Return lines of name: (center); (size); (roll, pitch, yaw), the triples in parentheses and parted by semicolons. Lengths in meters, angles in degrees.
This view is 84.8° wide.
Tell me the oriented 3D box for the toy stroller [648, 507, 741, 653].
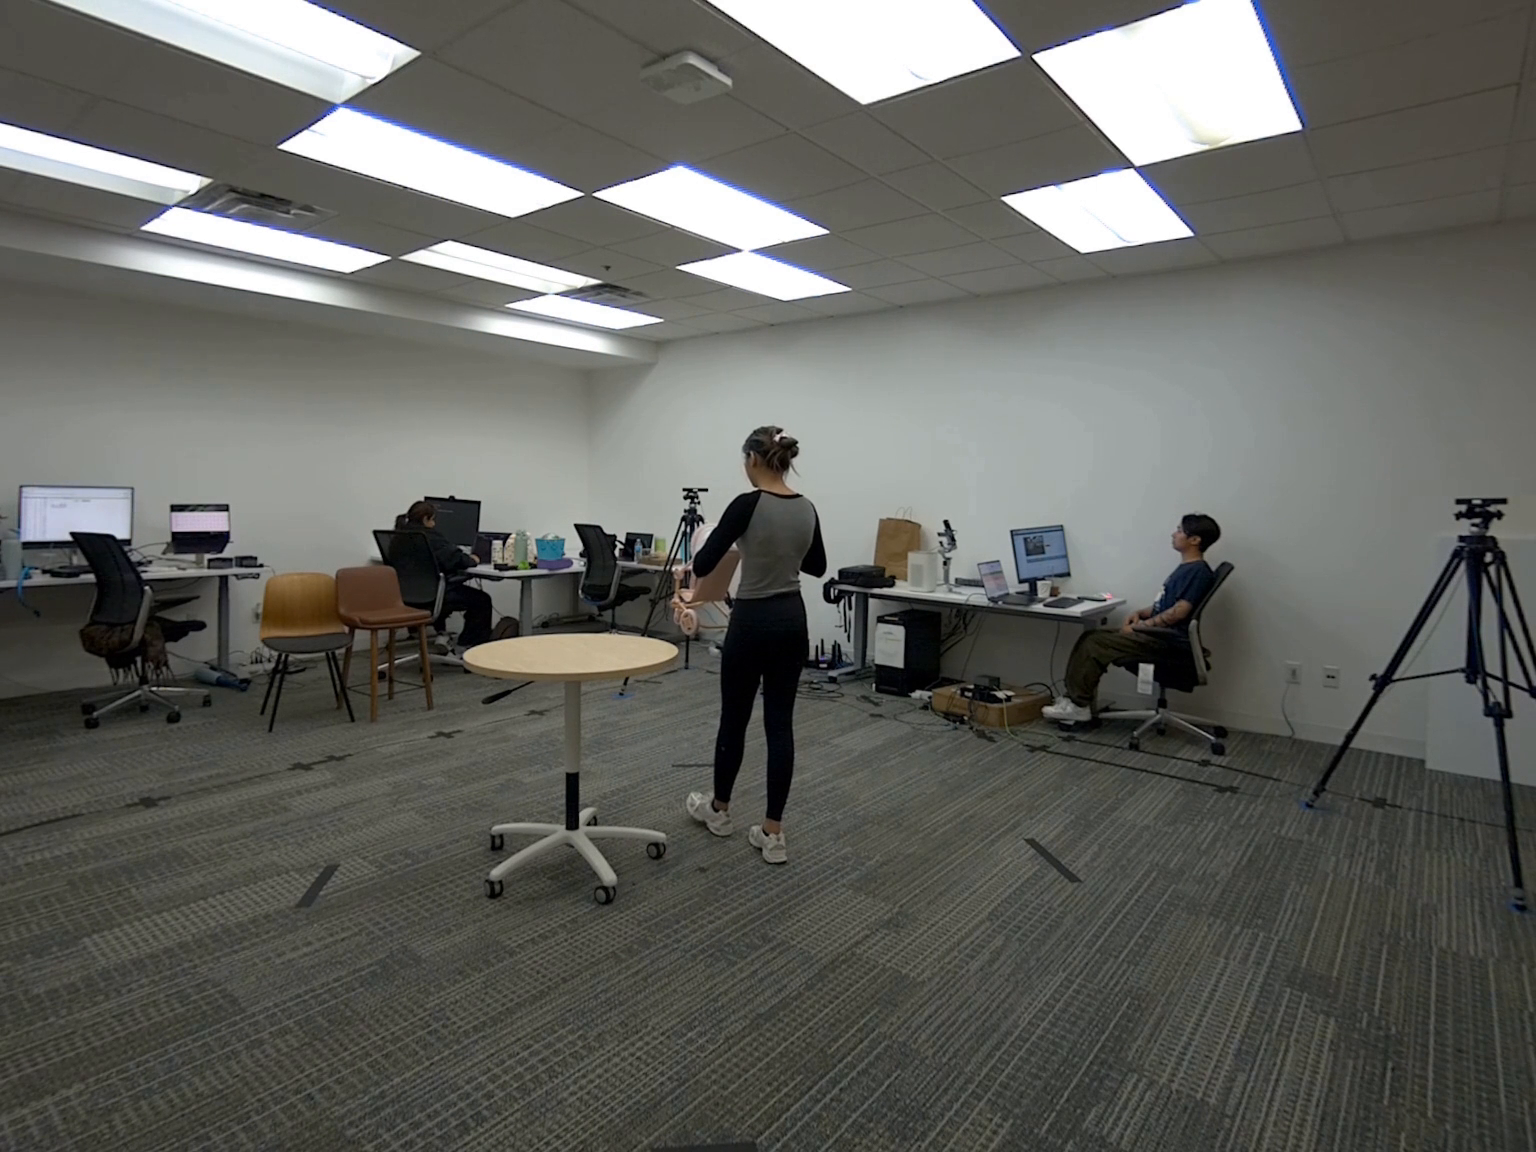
toy stroller: (-0.275, 0.009, 3.649); (0.273, 0.530, 0.355); (2, 17, -35)
